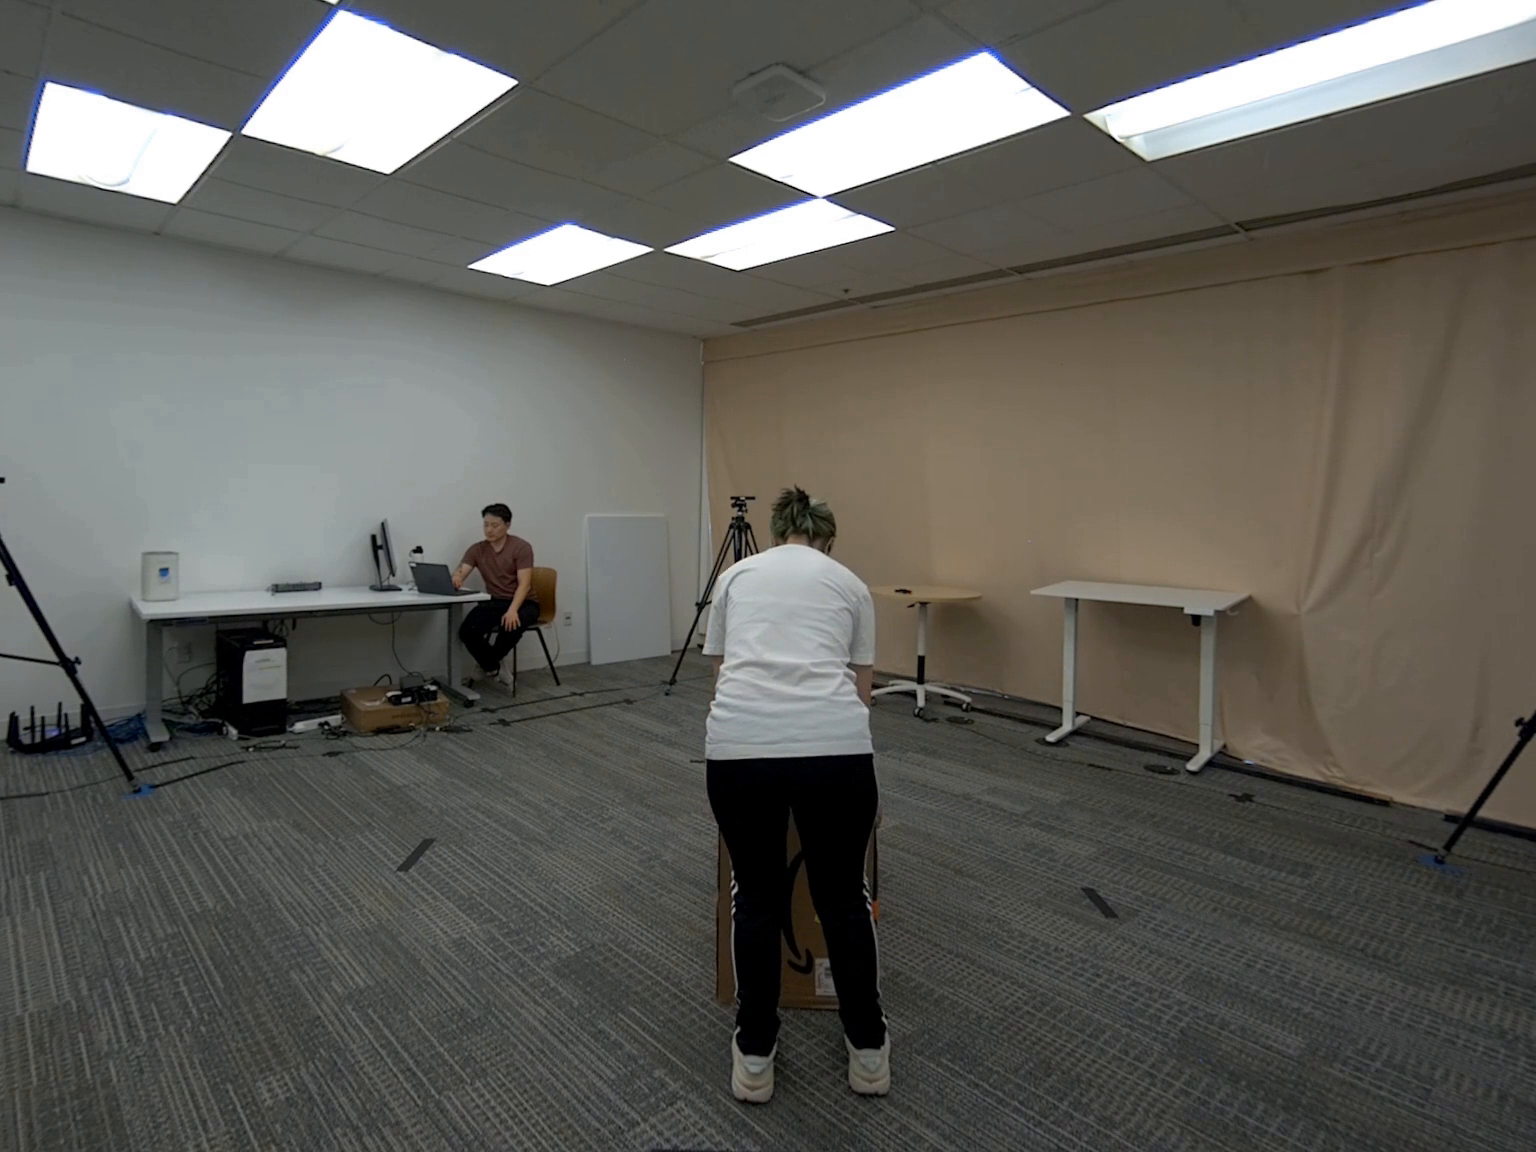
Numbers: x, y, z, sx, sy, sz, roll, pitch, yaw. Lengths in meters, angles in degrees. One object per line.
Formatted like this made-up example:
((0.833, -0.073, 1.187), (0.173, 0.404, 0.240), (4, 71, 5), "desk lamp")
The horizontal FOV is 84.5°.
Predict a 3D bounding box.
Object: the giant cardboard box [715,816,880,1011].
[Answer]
((0.093, 0.853, 2.790), (0.448, 0.582, 1.028), (2, 5, 1), "giant cardboard box")
